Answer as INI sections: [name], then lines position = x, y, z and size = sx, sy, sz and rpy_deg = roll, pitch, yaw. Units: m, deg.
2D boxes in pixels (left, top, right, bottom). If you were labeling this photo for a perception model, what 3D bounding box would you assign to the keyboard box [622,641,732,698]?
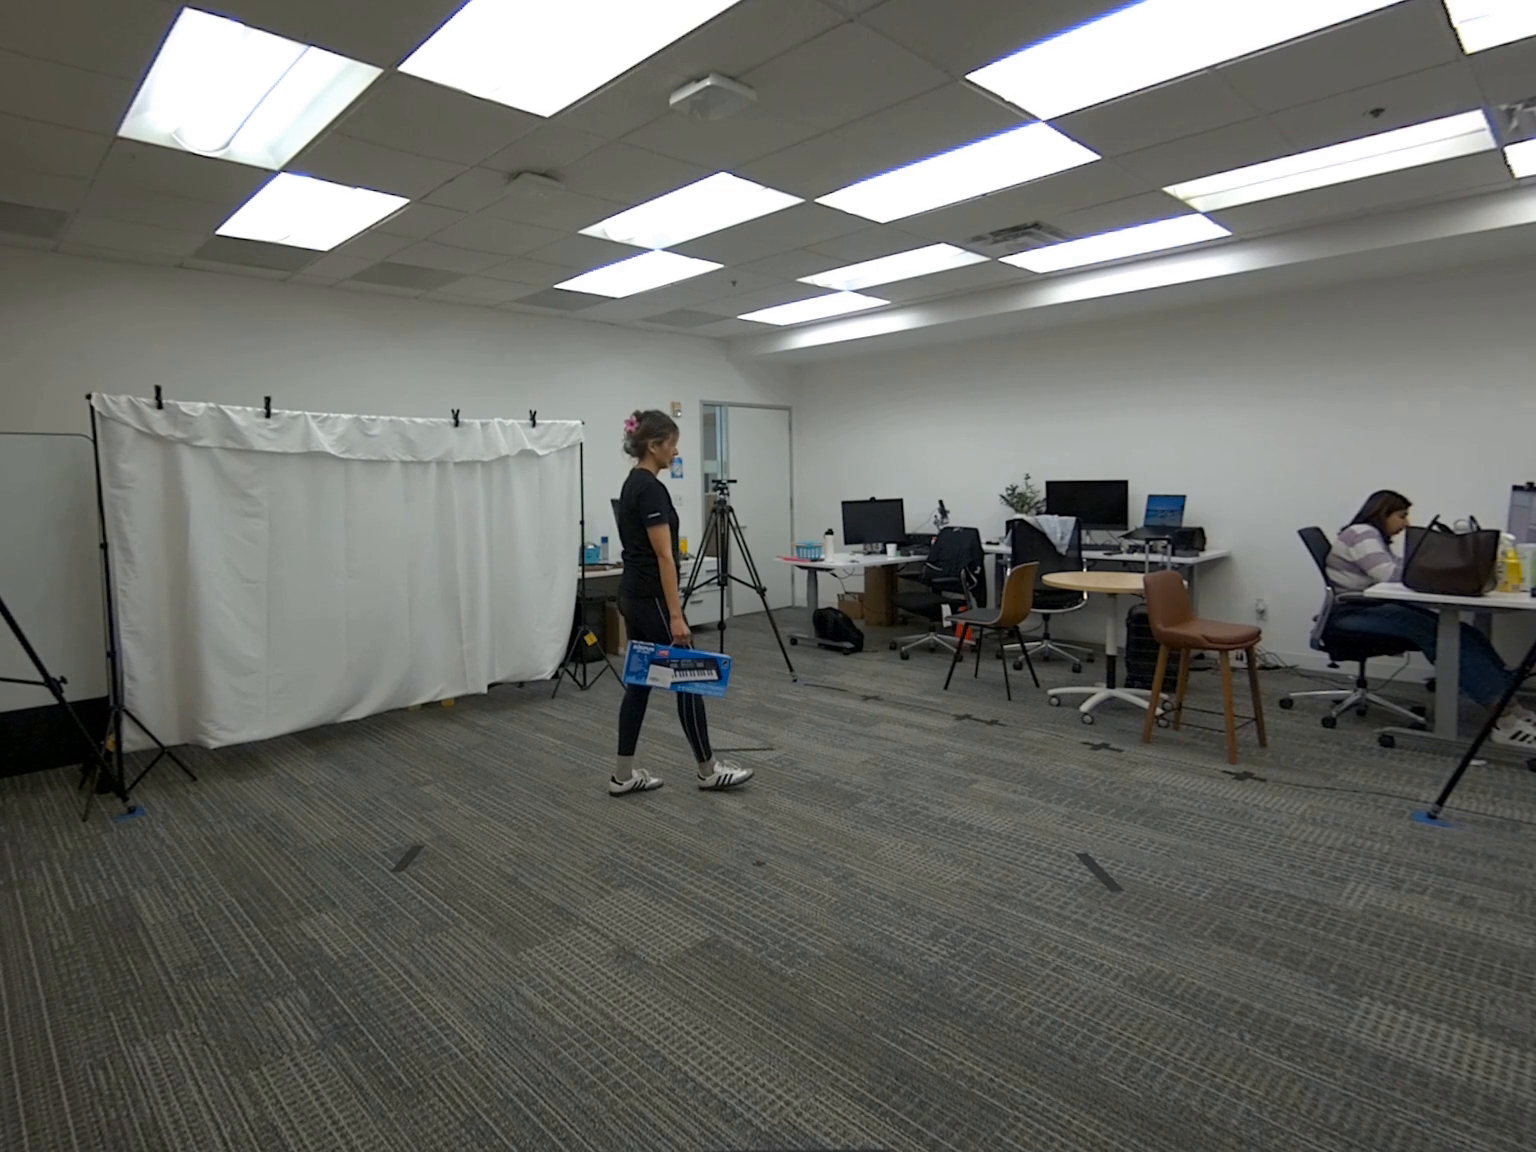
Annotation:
[keyboard box]
position = -0.378, 0.389, 3.570
size = 0.430, 0.176, 0.060
rpy_deg = 10, 2, -14
